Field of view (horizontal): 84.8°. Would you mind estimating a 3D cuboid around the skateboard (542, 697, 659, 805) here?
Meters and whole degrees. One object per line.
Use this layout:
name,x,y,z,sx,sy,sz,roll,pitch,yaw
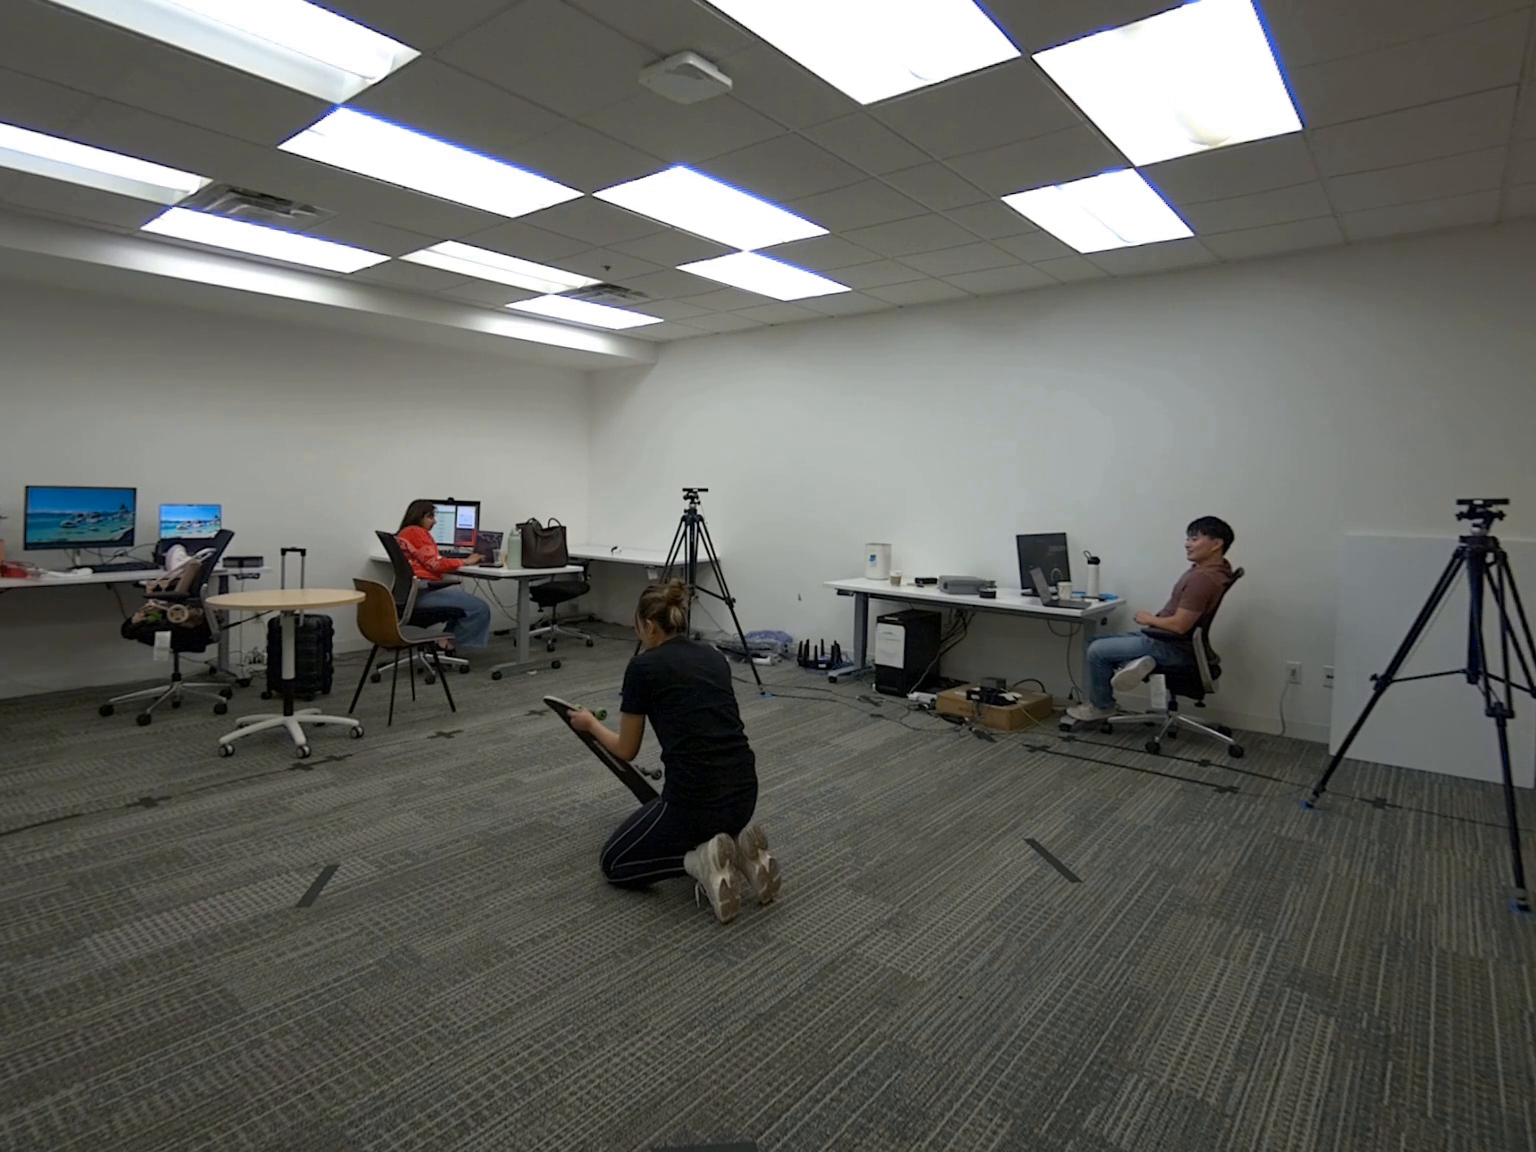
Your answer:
skateboard,-0.644,0.706,3.465,0.199,0.760,0.111,-8,38,44
